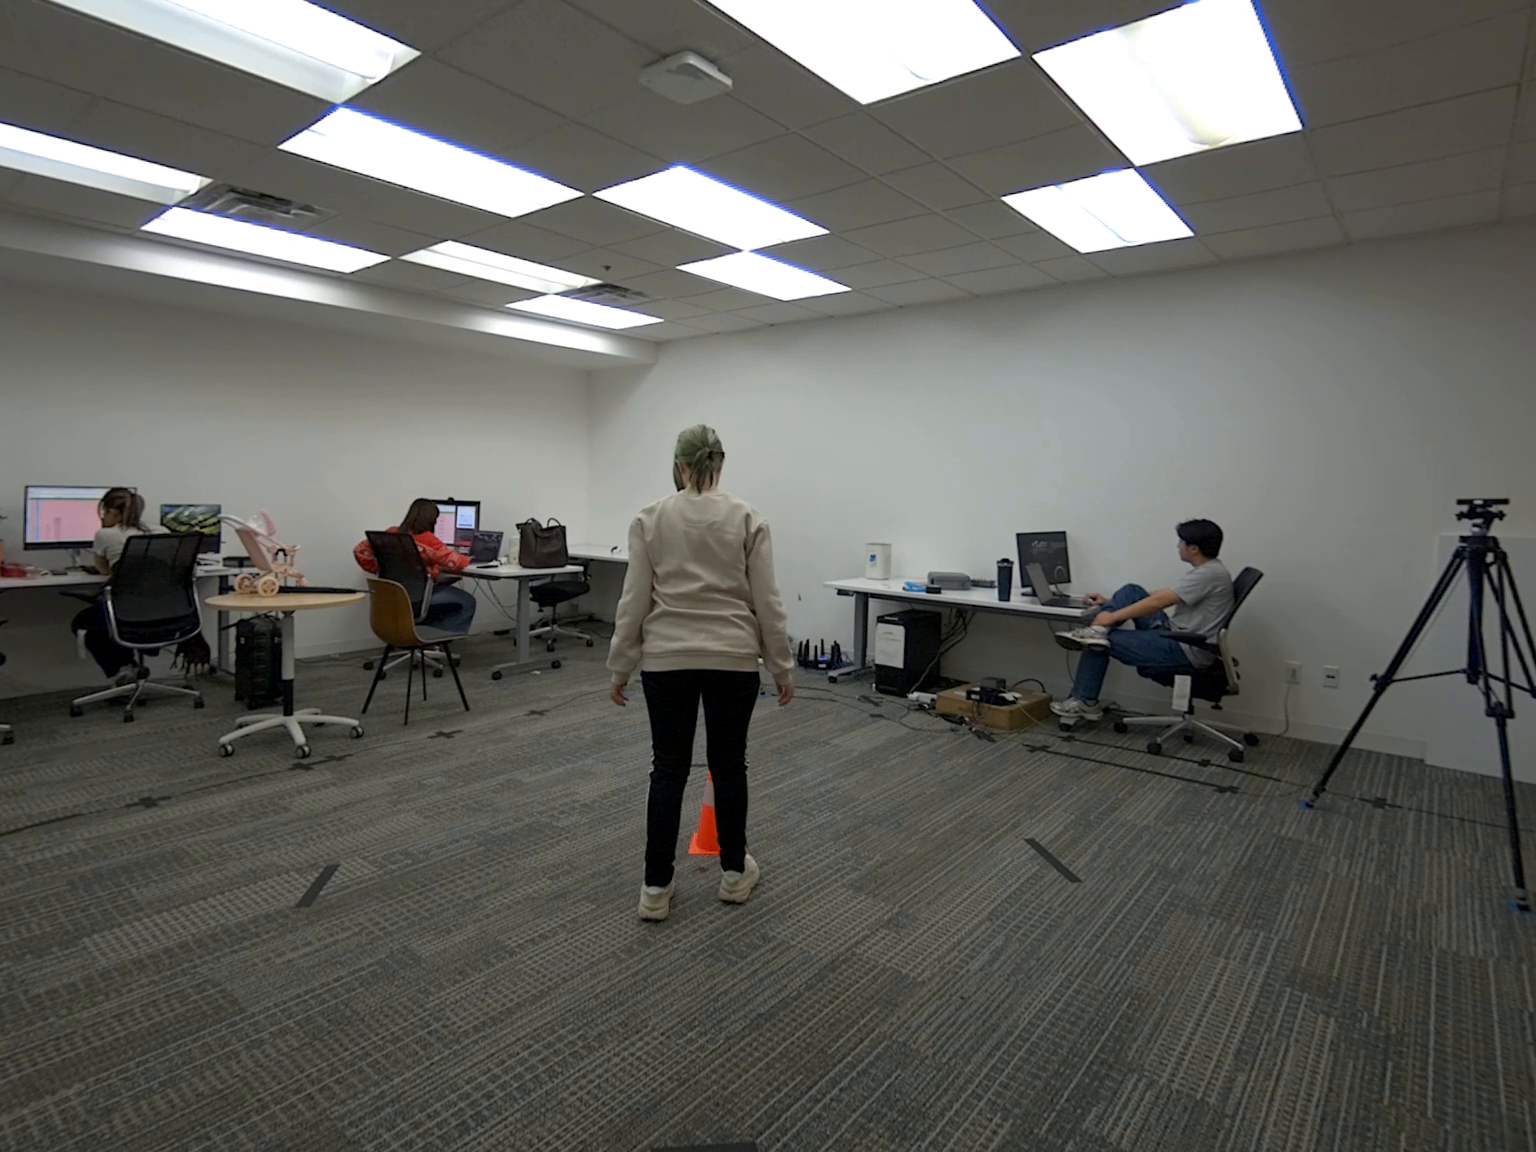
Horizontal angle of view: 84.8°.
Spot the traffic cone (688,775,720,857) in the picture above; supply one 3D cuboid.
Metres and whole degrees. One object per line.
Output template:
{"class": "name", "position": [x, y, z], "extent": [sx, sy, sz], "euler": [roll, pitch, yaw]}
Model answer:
{"class": "traffic cone", "position": [-0.207, 0.862, 3.321], "extent": [0.206, 0.383, 0.203], "euler": [2, 3, 4]}
